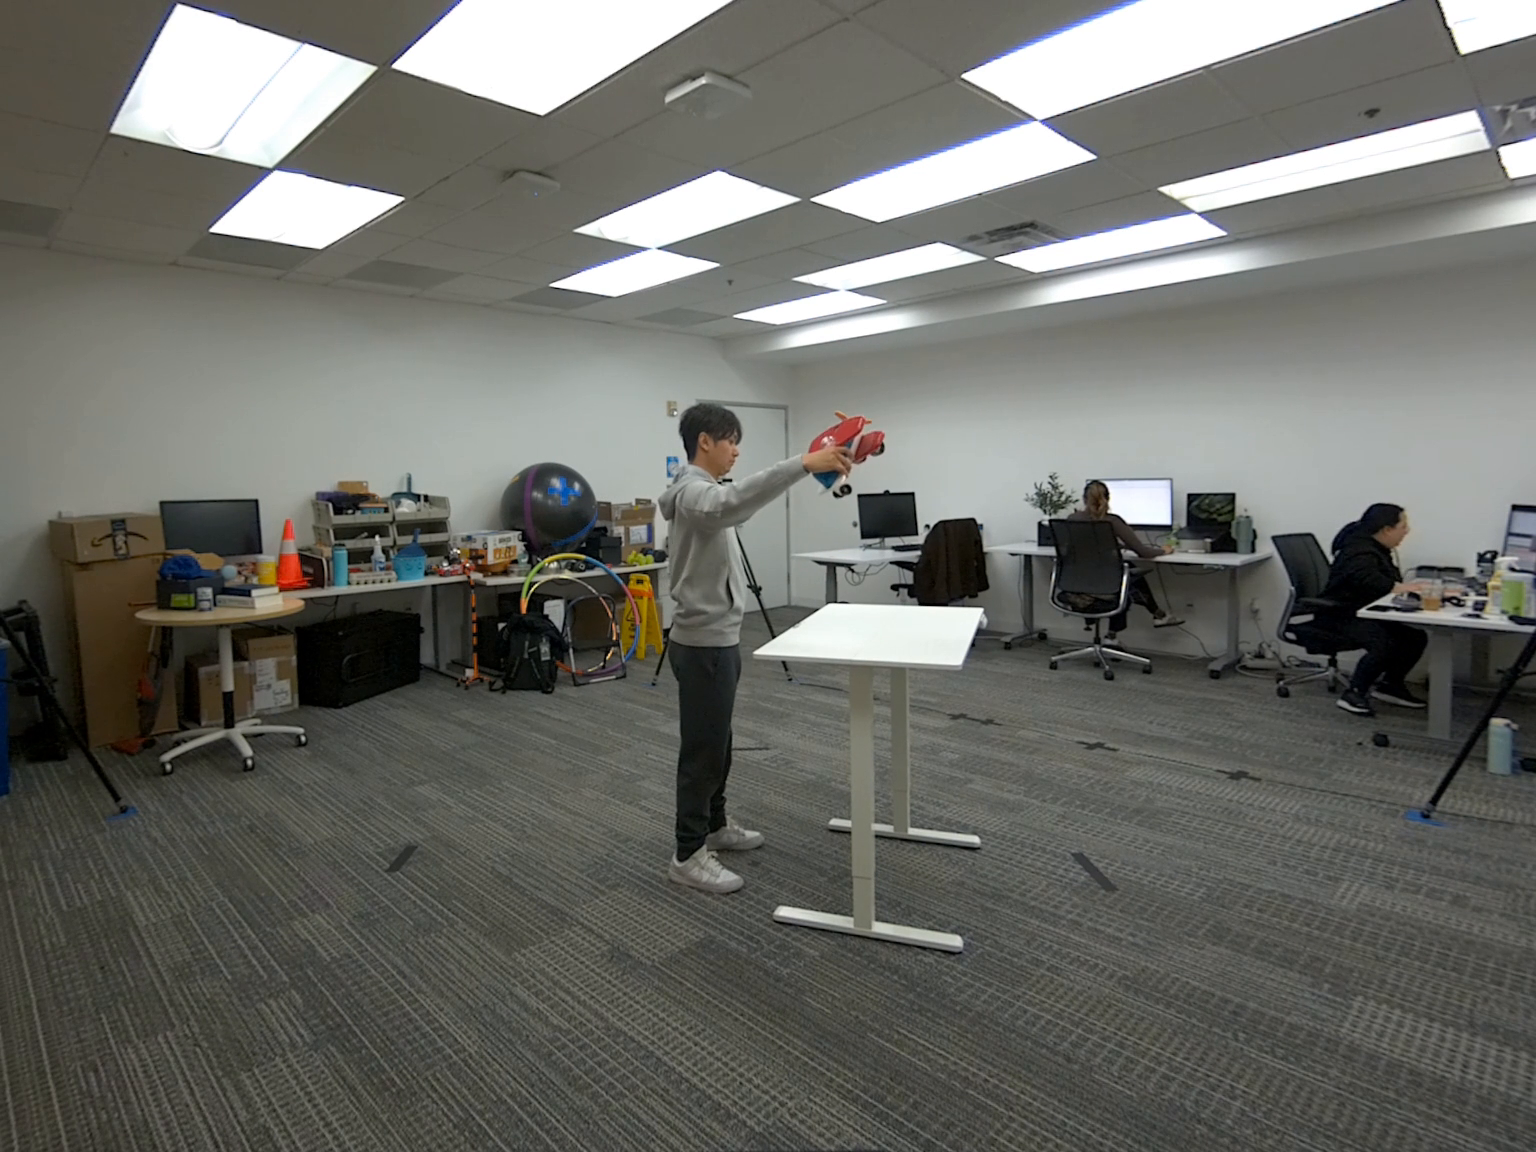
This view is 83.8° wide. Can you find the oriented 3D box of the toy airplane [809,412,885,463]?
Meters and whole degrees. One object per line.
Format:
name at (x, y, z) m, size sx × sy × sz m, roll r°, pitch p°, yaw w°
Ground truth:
toy airplane at (0.241, -0.361, 2.551) m, size 0.253 × 0.153 × 0.262 m, roll -34°, pitch 18°, yaw 30°
